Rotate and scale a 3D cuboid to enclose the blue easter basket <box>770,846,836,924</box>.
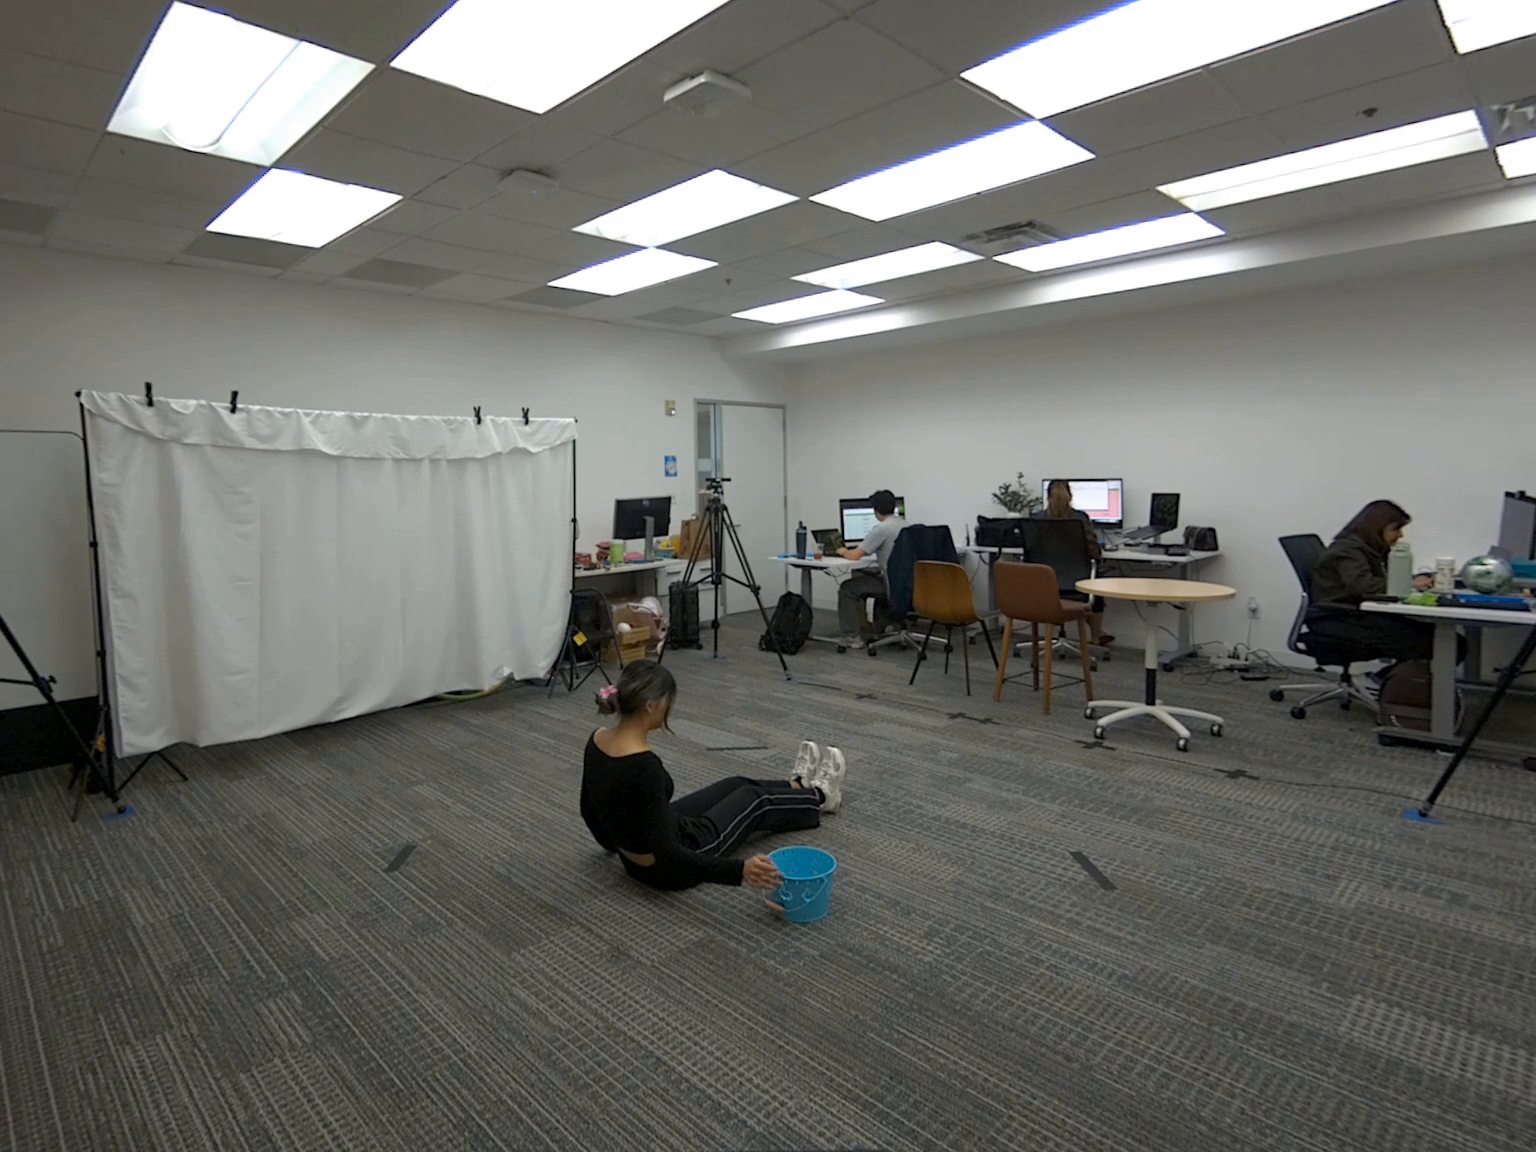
[{"bbox_3d":[0.102,0.995,2.767,0.243,0.155,0.245,-2,6,-2],"label":"blue easter basket"}]
